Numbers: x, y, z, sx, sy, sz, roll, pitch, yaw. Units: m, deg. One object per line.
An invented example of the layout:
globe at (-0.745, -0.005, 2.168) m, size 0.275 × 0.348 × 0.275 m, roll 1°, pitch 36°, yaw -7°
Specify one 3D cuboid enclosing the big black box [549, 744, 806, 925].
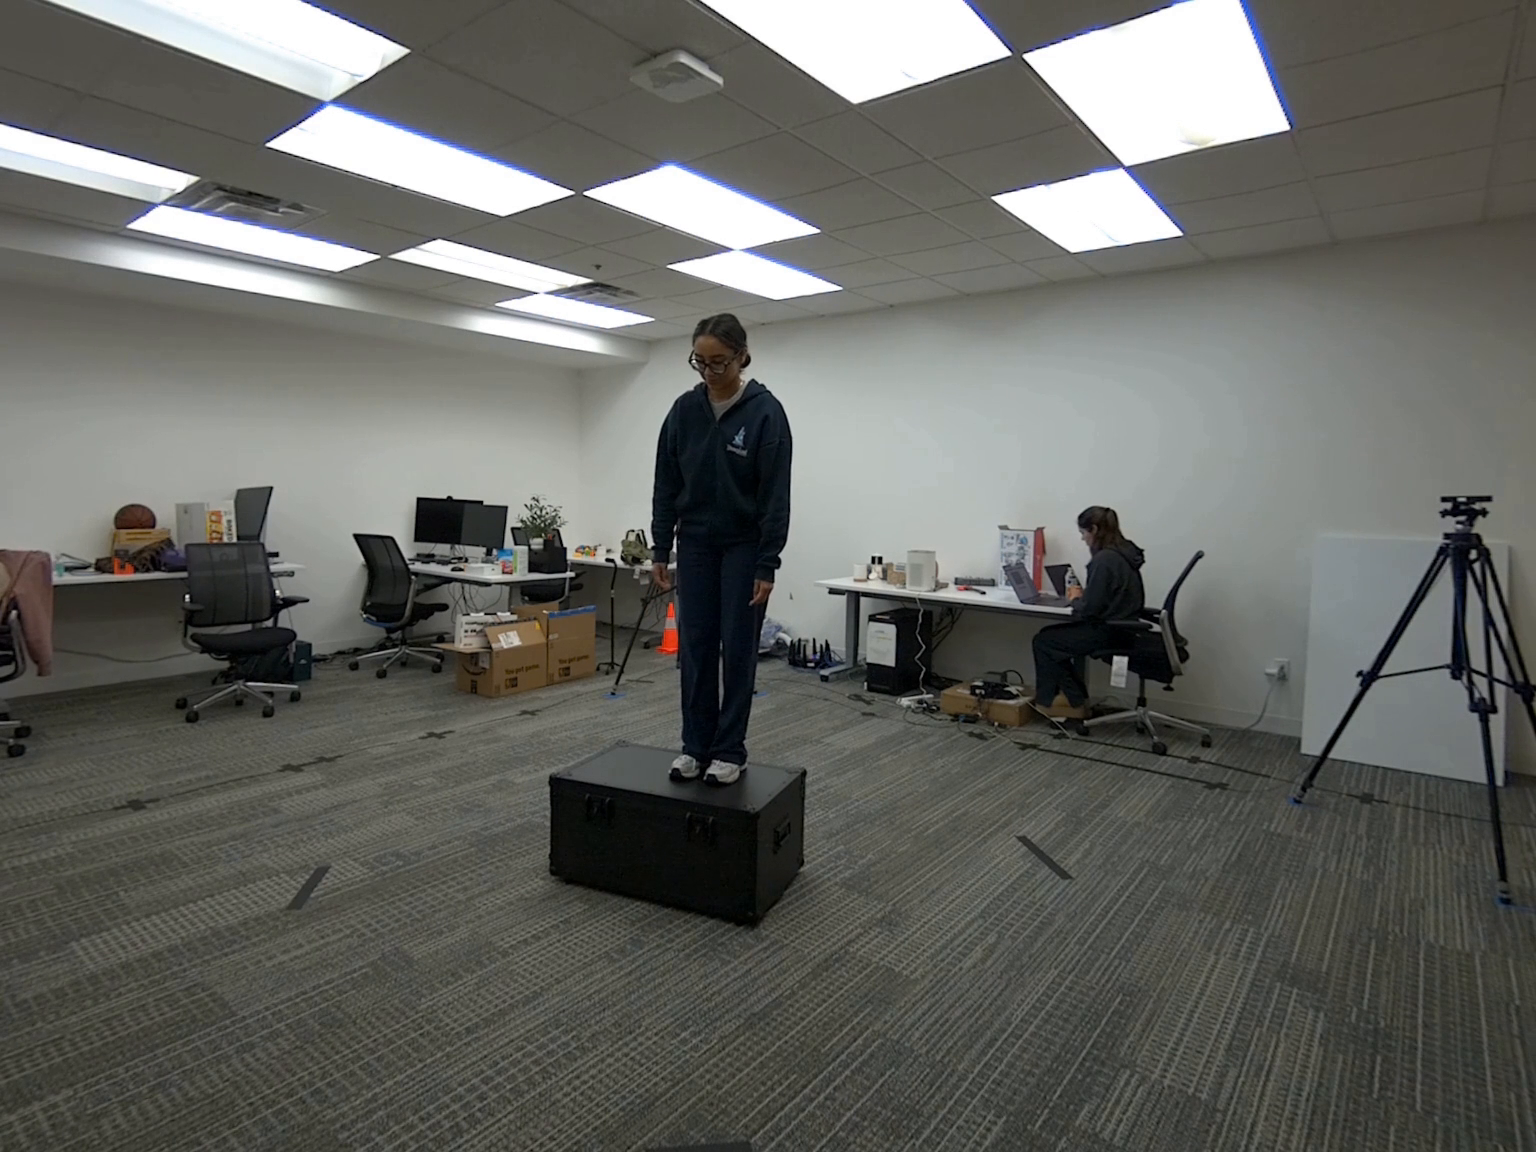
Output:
big black box at (-0.357, 0.881, 3.054) m, size 0.882 × 0.395 × 0.511 m, roll 4°, pitch 5°, yaw 22°
